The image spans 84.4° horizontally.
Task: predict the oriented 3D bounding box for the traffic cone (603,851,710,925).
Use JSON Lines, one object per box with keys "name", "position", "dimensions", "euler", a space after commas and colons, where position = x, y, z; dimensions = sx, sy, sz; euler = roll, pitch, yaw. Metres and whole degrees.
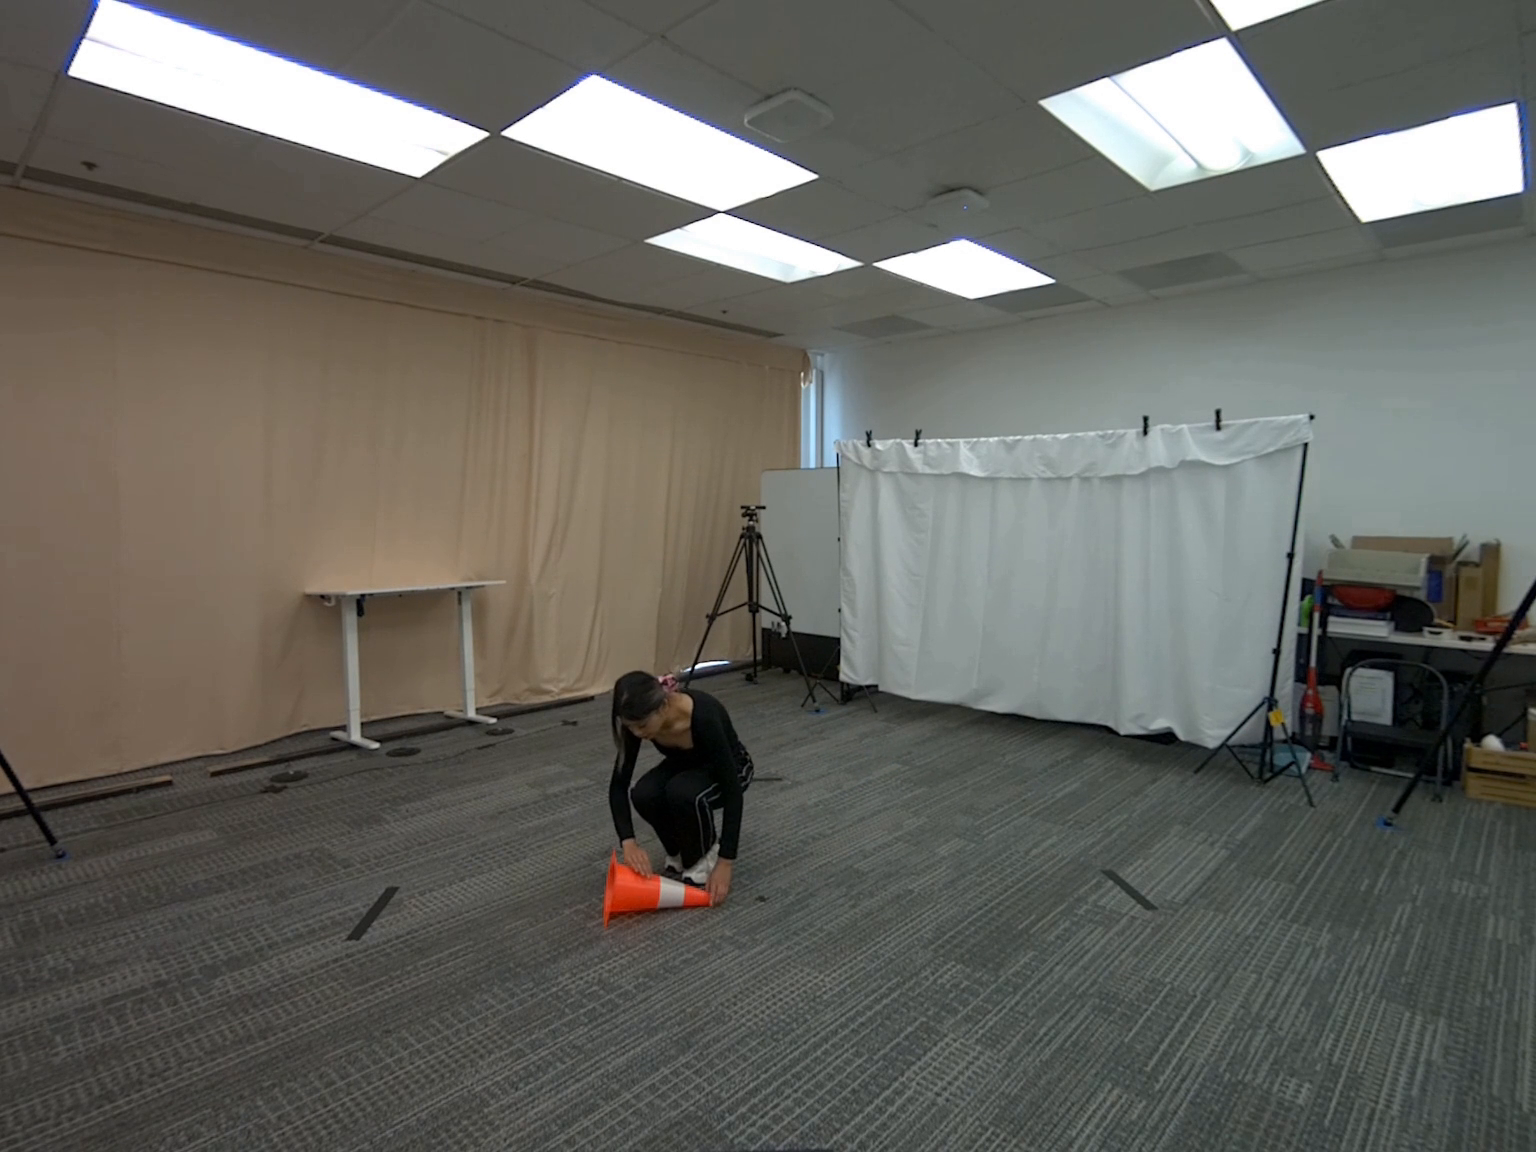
{"name": "traffic cone", "position": [-0.357, 1.095, 2.918], "dimensions": [0.378, 0.205, 0.207], "euler": [12, 3, -14]}
